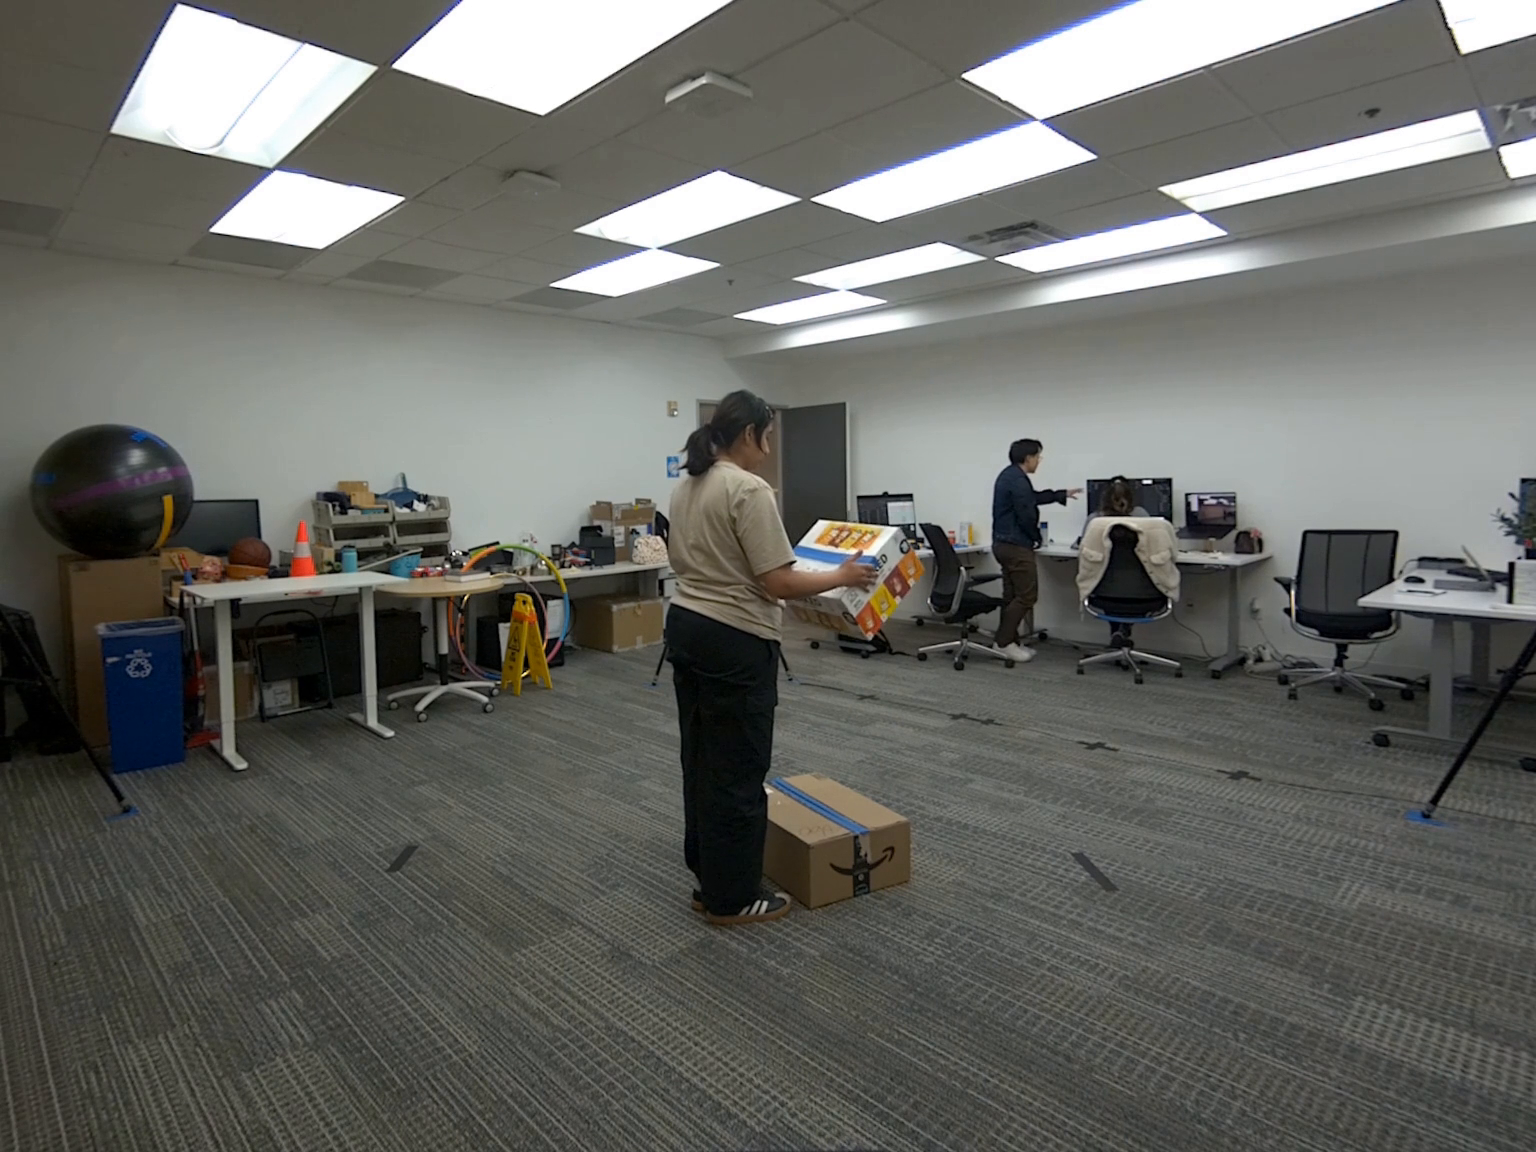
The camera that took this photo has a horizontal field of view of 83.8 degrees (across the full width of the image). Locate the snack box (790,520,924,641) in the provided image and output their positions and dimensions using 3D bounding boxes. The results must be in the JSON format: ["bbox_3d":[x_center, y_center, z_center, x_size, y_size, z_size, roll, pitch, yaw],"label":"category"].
[{"bbox_3d":[0.261,0.004,2.986,0.340,0.199,0.418,-48,31,-22],"label":"snack box"}]
